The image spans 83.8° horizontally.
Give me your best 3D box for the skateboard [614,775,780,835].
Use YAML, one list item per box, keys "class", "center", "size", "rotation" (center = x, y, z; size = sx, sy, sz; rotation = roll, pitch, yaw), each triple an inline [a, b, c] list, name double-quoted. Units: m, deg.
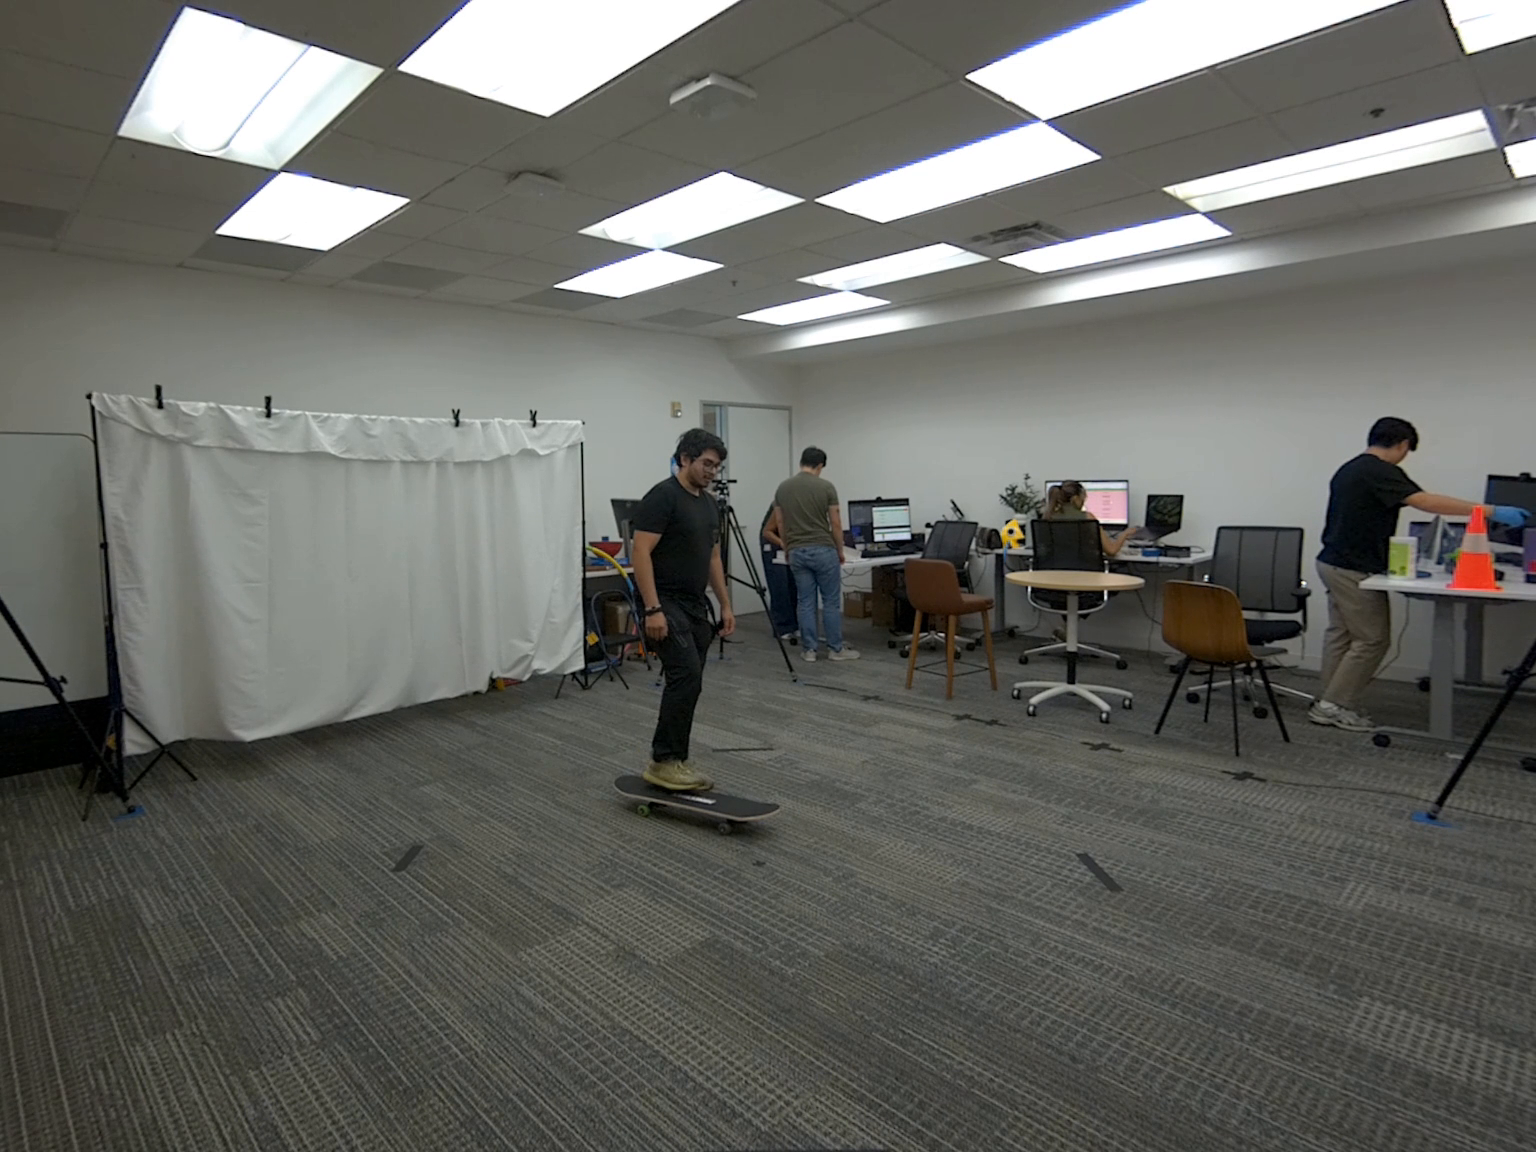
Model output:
- class: "skateboard"
  center: [-0.301, 0.948, 3.534]
  size: [0.806, 0.110, 0.189]
  rotation: [2, 6, 31]
